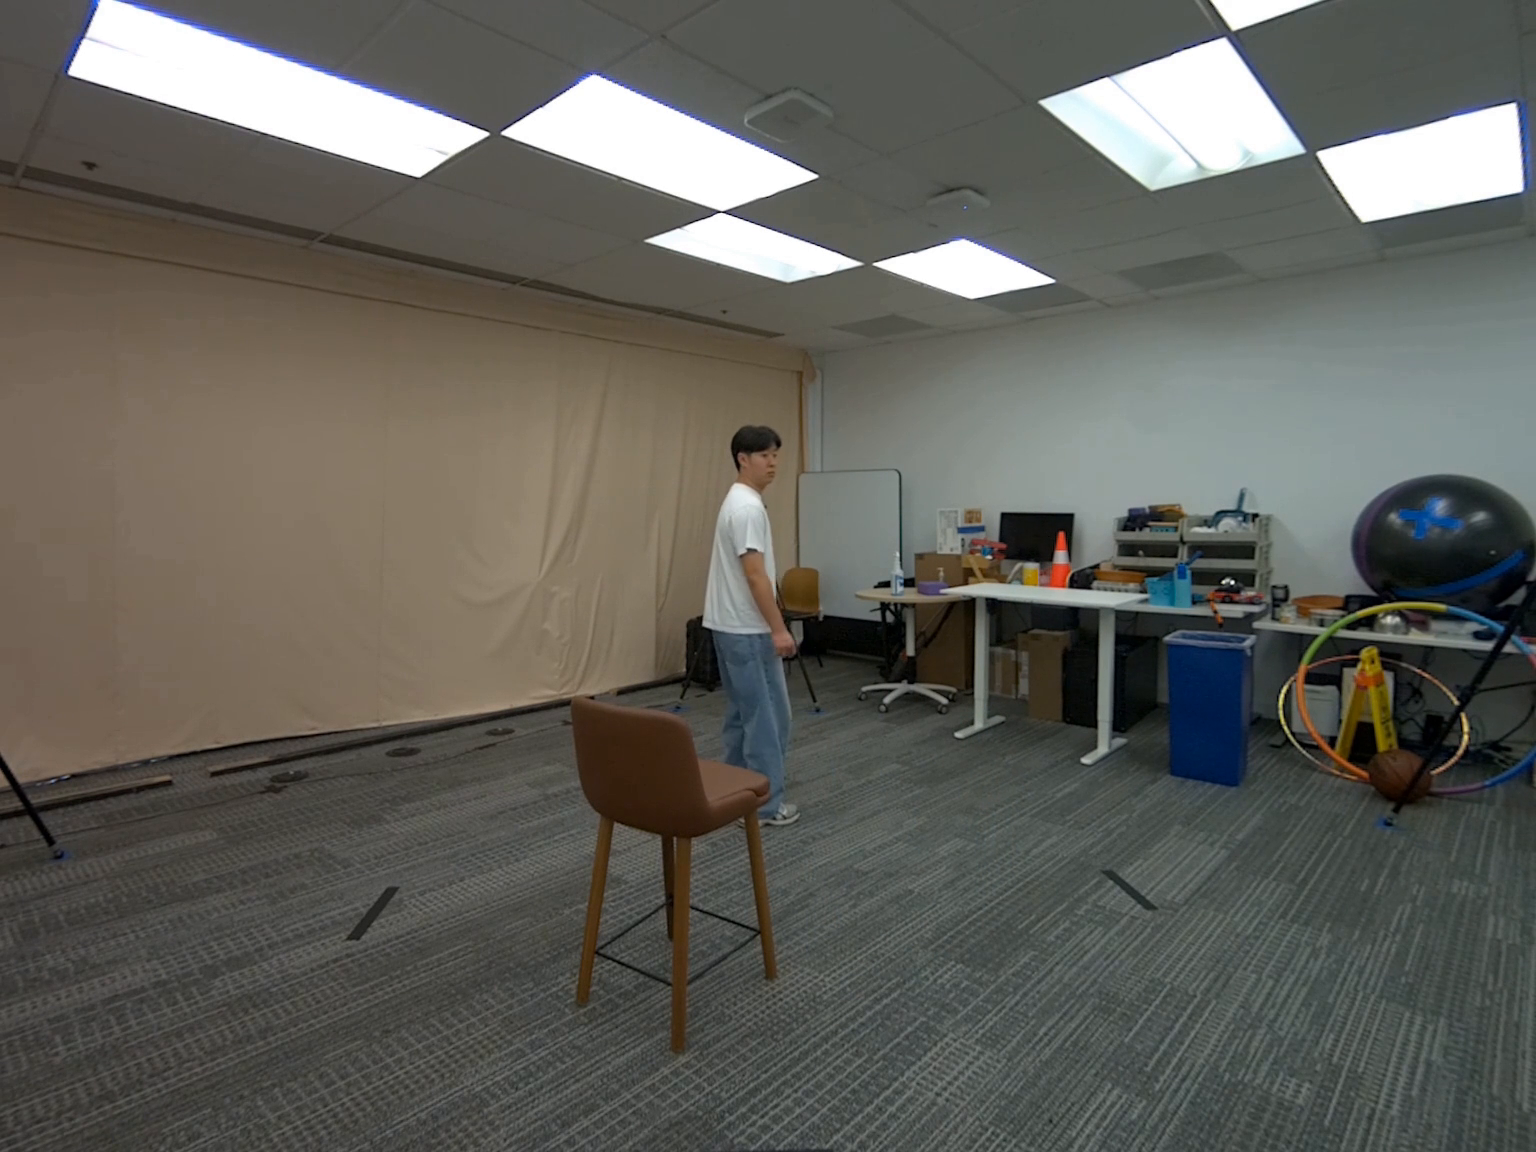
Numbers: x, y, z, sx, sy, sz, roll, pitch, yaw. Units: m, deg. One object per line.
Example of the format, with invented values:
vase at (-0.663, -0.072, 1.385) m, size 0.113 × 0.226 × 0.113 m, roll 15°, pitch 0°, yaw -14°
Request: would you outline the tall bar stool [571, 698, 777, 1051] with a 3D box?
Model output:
tall bar stool at (-0.270, 0.757, 2.405) m, size 0.471 × 0.887 × 0.454 m, roll 1°, pitch 6°, yaw 36°
